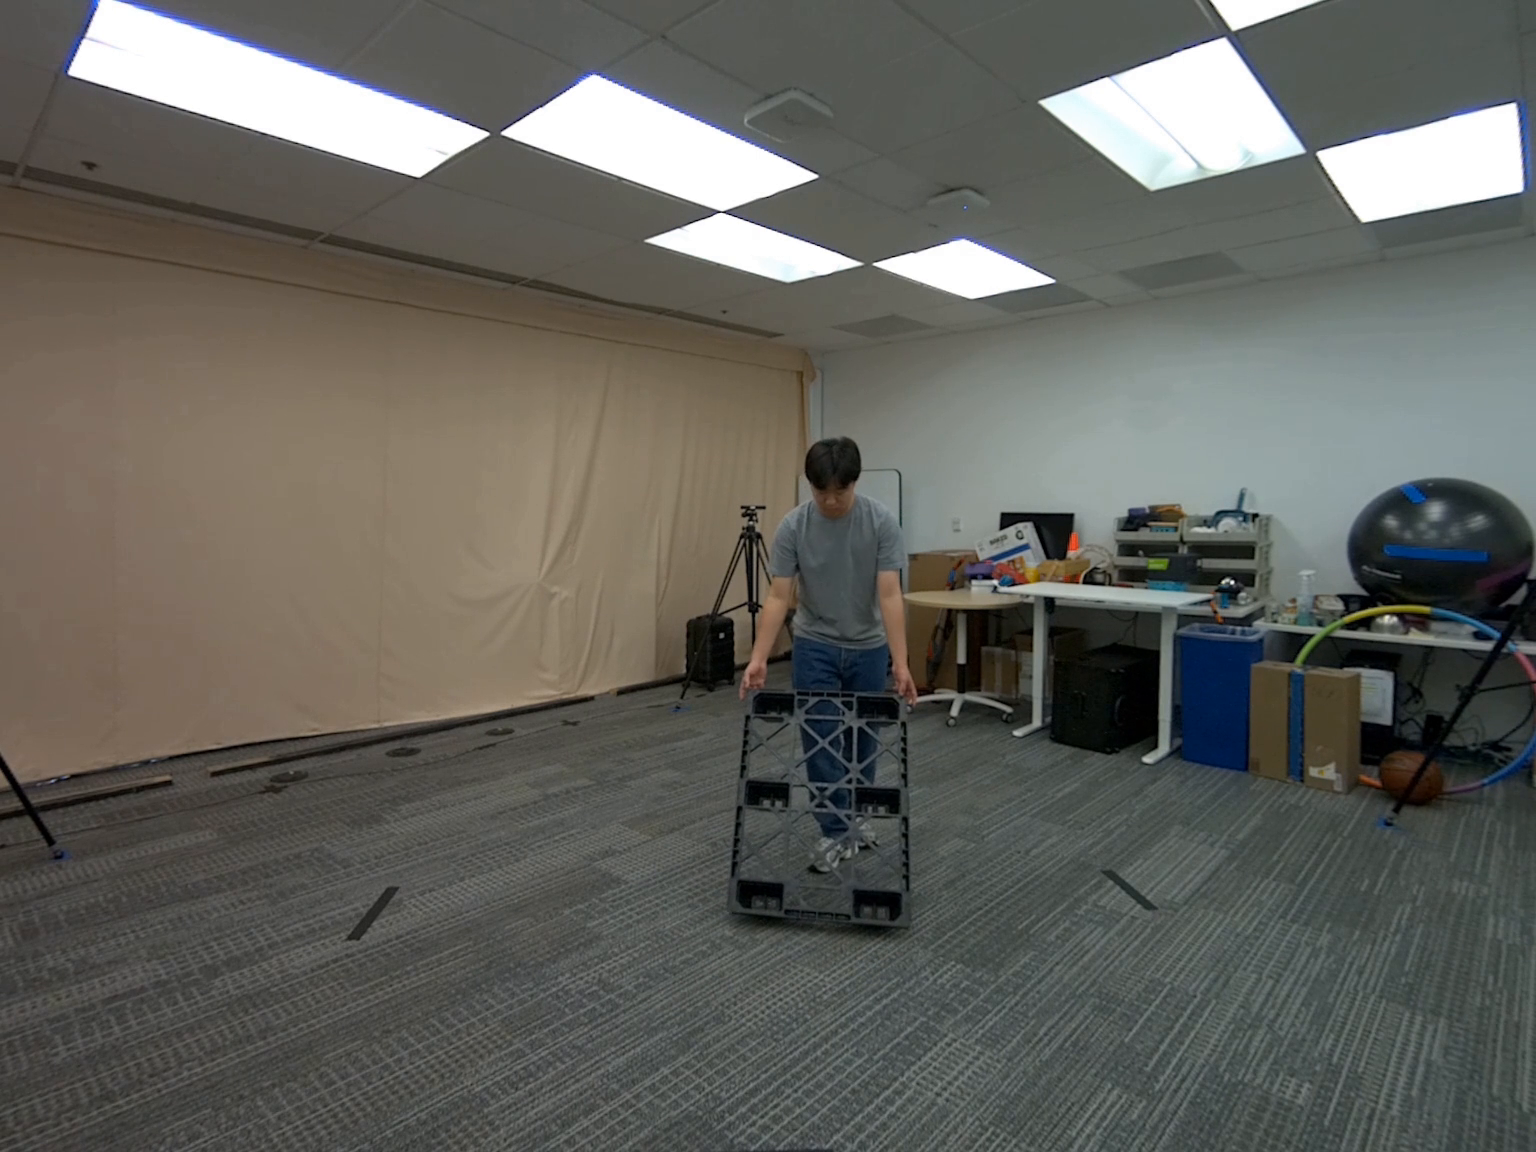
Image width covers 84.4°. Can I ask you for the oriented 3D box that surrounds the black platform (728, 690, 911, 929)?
[{"bbox_3d":[0.195,0.813,2.995,0.612,0.816,0.140,-1,-32,10],"label":"black platform"}]
